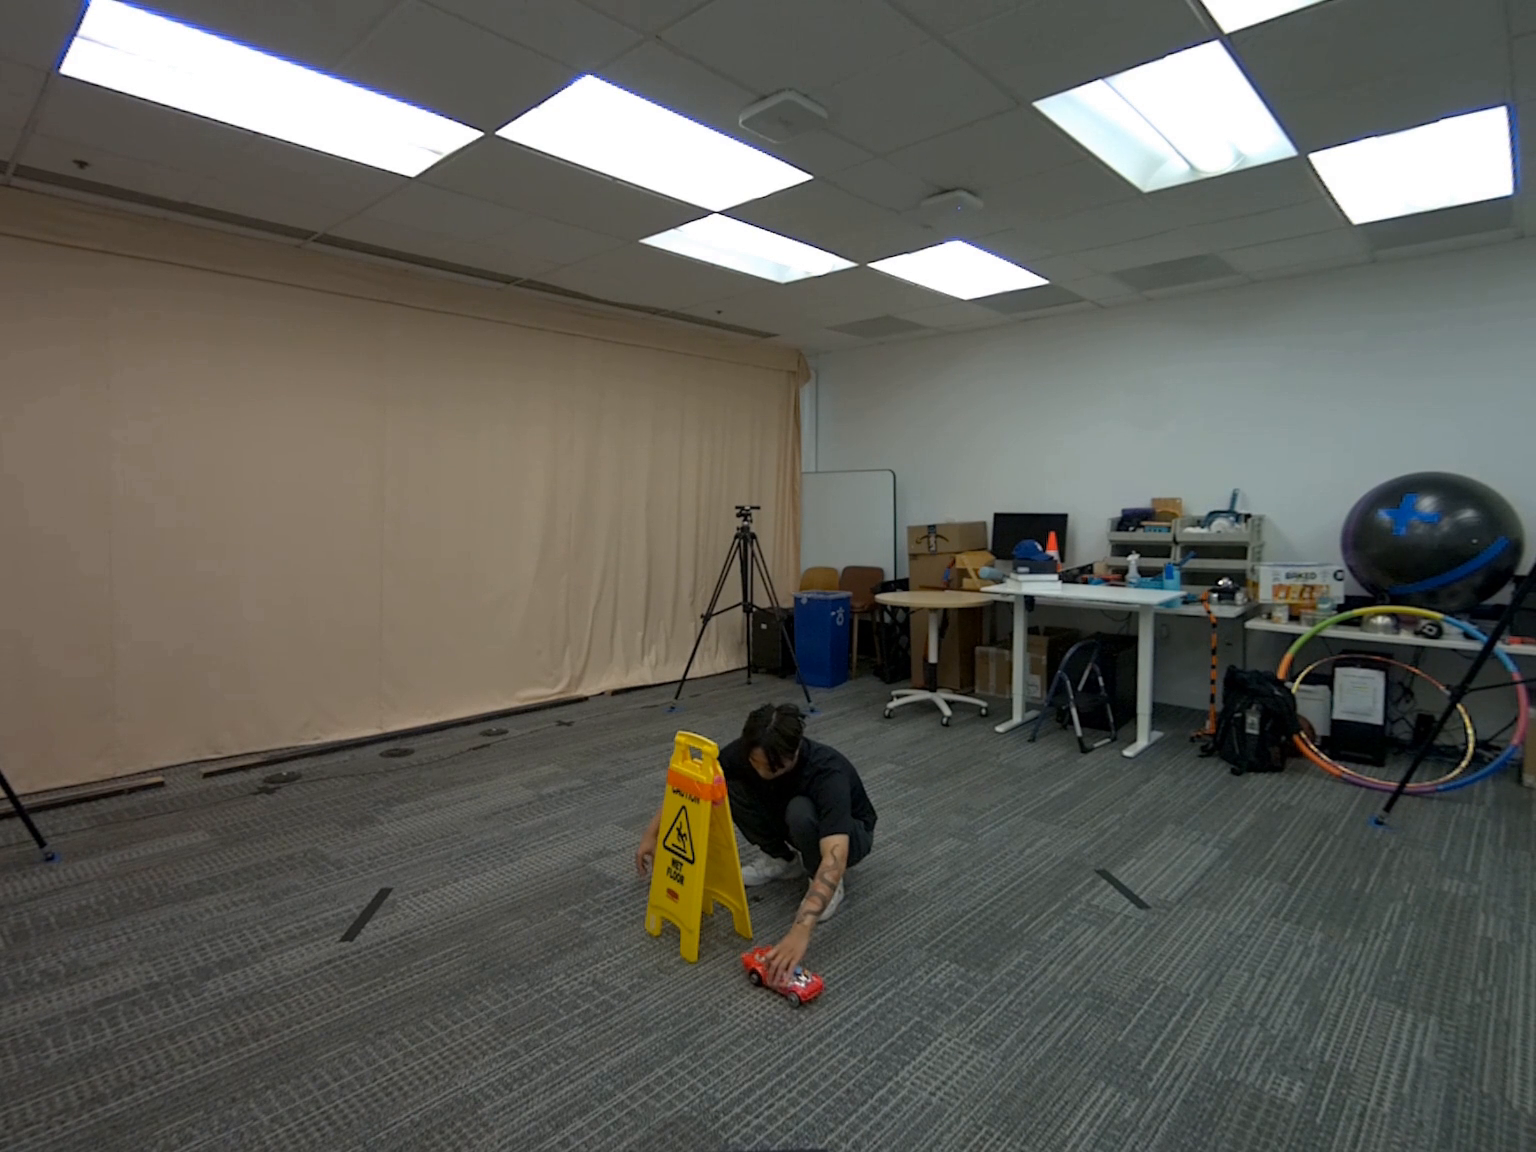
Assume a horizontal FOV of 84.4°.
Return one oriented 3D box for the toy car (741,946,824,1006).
[{"bbox_3d":[0.032,1.150,2.446,0.126,0.083,0.264,-6,18,-44],"label":"toy car"}]
